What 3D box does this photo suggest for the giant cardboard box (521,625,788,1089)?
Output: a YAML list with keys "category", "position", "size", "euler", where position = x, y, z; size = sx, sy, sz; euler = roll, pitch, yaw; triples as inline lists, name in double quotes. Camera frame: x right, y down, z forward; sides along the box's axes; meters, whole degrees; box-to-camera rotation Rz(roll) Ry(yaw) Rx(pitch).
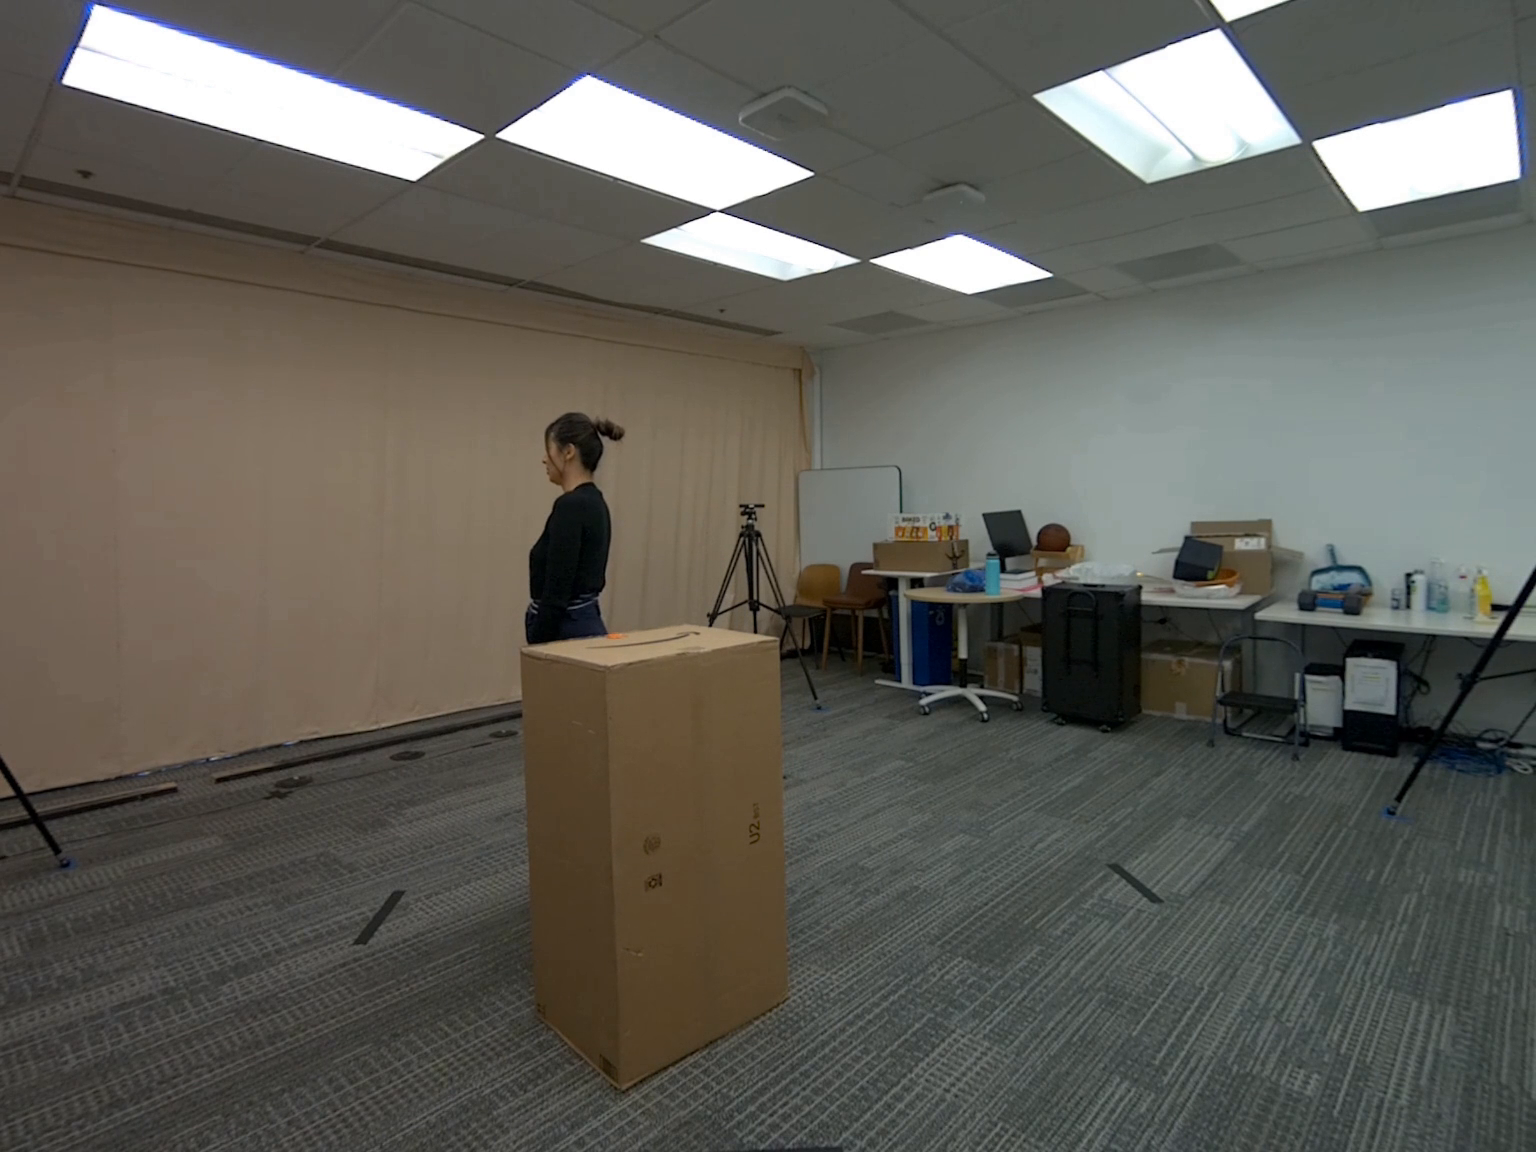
- category: "giant cardboard box"
  position: [-0.304, 0.692, 2.315]
  size: [0.560, 1.024, 0.440]
  euler: [-4, 4, -42]
